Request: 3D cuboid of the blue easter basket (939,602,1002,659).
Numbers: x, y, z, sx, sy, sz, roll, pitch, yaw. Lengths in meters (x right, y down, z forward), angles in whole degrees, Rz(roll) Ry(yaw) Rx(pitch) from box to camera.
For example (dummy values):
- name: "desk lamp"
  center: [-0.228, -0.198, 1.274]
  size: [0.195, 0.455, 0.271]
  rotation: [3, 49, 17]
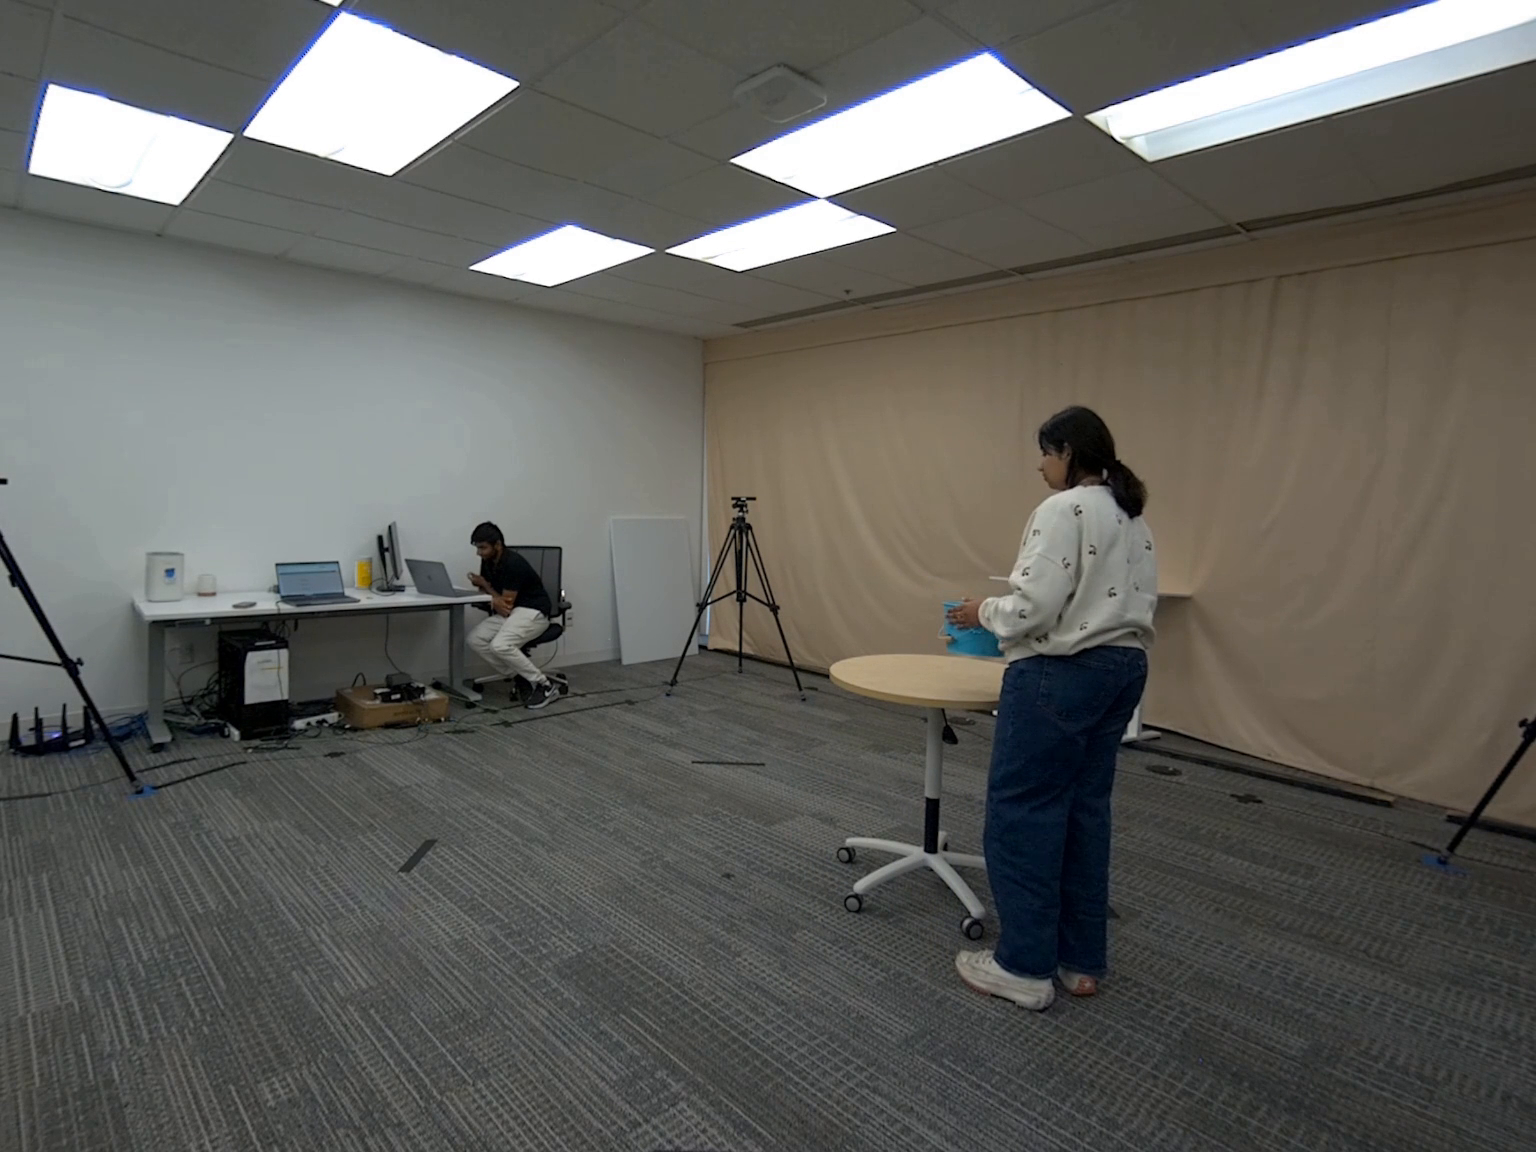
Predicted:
- name: "blue easter basket"
  center: [0.678, 0.175, 2.686]
  size: [0.243, 0.156, 0.244]
  rotation: [6, 3, -2]
